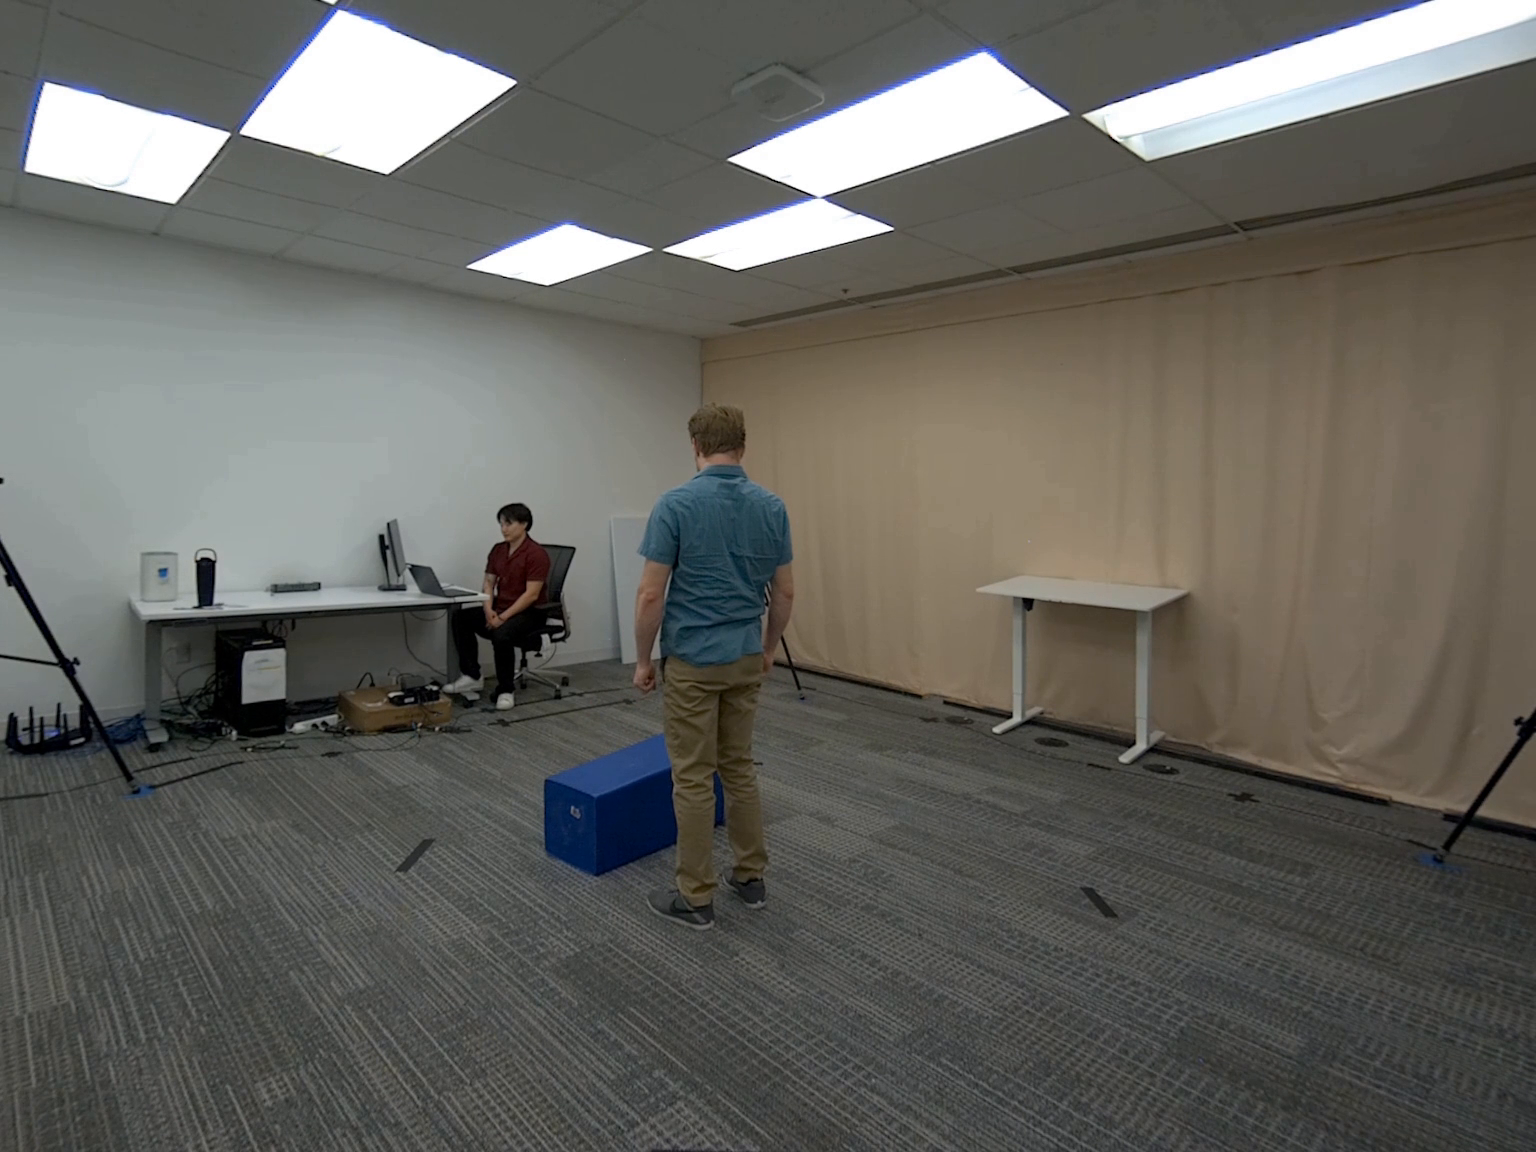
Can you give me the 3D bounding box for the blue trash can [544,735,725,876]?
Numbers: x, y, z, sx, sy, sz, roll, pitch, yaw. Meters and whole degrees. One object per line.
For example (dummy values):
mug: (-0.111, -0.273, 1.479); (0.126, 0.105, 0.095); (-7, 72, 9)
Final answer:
blue trash can: (-0.528, 0.906, 3.411); (0.383, 0.376, 0.699); (5, 9, 38)
